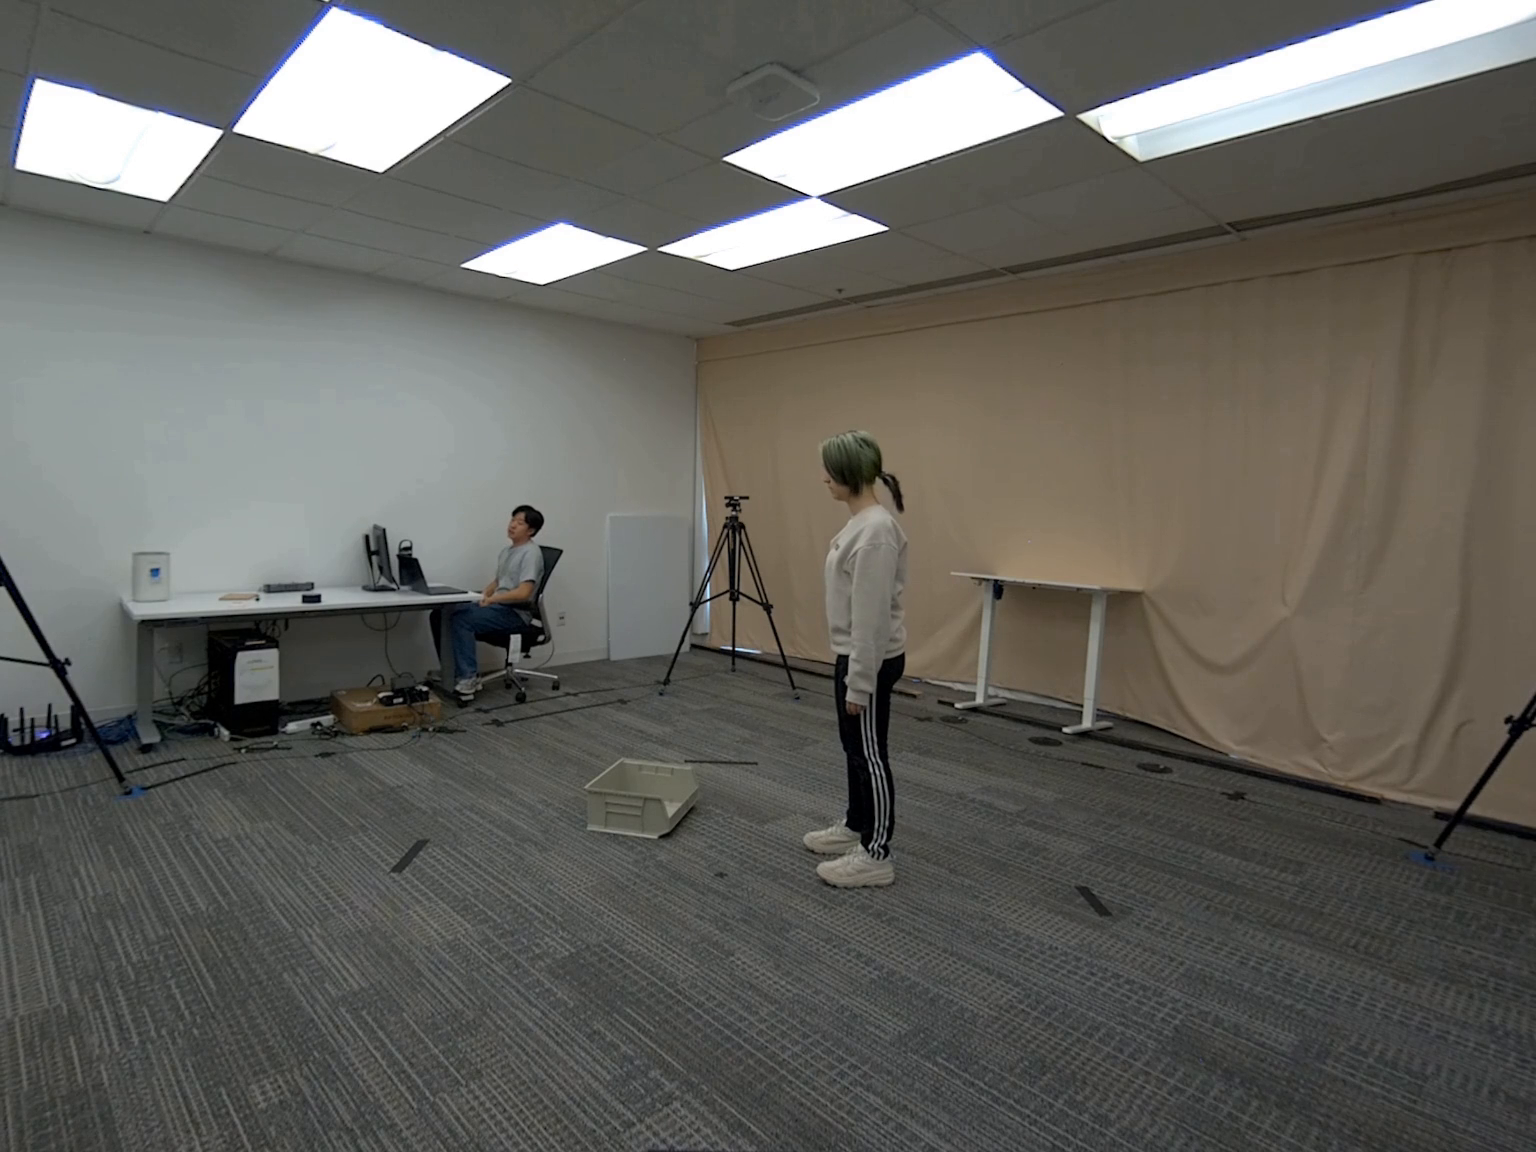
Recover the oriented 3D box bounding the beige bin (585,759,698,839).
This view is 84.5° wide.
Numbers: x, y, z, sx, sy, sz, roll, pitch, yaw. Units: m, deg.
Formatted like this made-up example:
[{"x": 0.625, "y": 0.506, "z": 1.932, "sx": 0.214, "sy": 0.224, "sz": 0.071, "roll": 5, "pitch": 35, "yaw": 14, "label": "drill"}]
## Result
[{"x": -0.549, "y": 0.960, "z": 3.649, "sx": 0.382, "sy": 0.188, "sz": 0.419, "roll": 2, "pitch": 5, "yaw": 13, "label": "beige bin"}]
